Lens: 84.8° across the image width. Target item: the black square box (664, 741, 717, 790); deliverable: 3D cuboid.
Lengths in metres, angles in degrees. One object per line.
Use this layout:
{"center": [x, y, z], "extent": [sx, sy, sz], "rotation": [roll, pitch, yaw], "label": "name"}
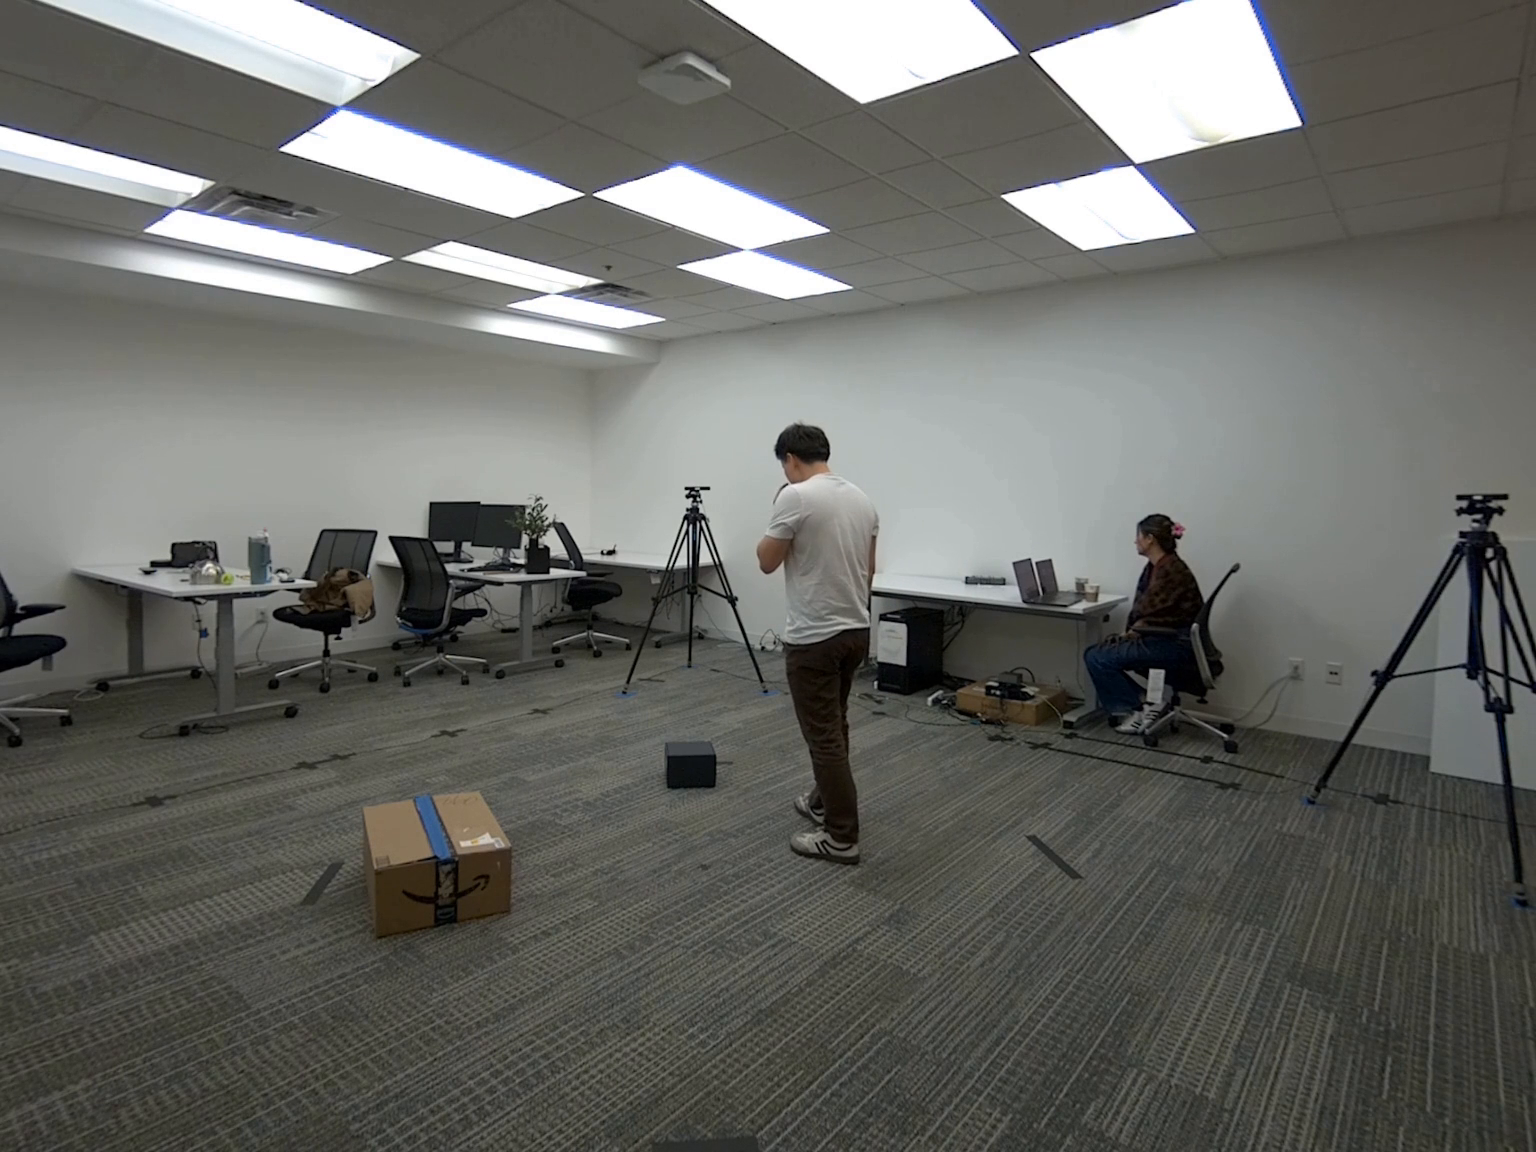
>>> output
{"center": [-0.384, 0.885, 4.044], "extent": [0.226, 0.155, 0.220], "rotation": [0, 5, -9], "label": "black square box"}
